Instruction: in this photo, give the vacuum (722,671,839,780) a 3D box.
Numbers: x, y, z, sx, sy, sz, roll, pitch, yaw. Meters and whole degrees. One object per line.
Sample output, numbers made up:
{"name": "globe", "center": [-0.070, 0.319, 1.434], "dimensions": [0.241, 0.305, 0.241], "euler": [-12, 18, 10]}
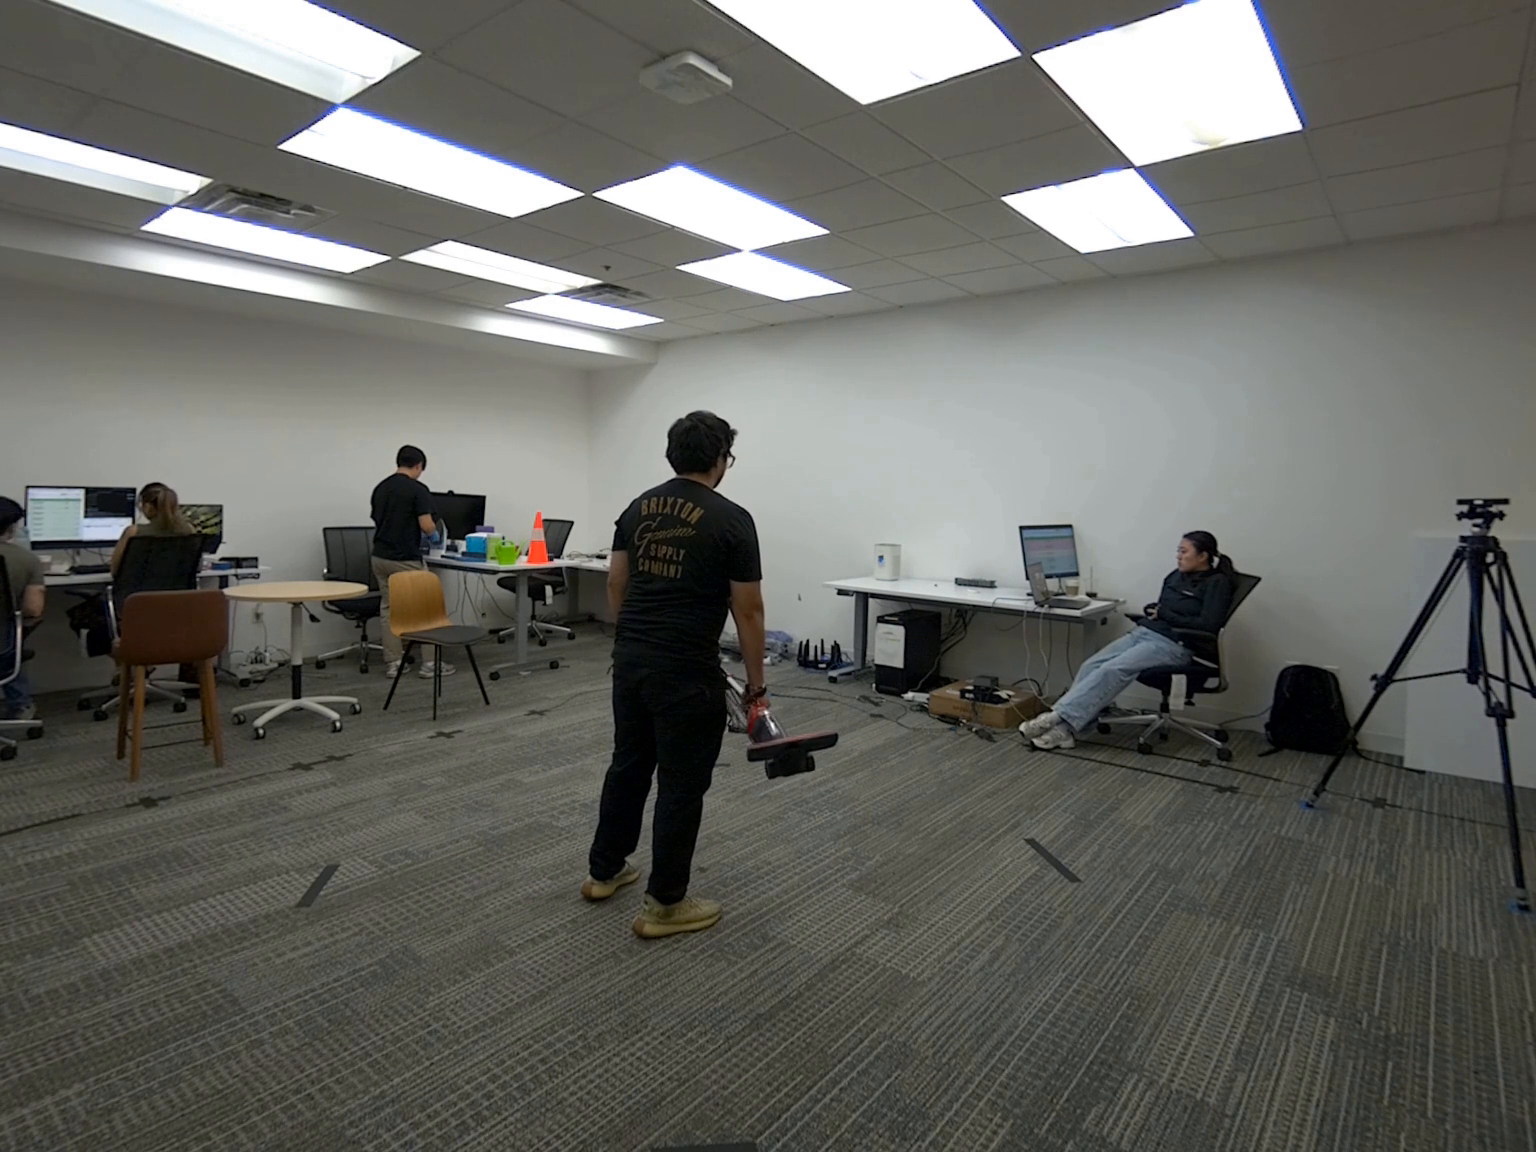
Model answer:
{"name": "vacuum", "center": [-0.078, 0.446, 2.846], "dimensions": [0.249, 0.143, 1.068], "euler": [-9, 7, -14]}
